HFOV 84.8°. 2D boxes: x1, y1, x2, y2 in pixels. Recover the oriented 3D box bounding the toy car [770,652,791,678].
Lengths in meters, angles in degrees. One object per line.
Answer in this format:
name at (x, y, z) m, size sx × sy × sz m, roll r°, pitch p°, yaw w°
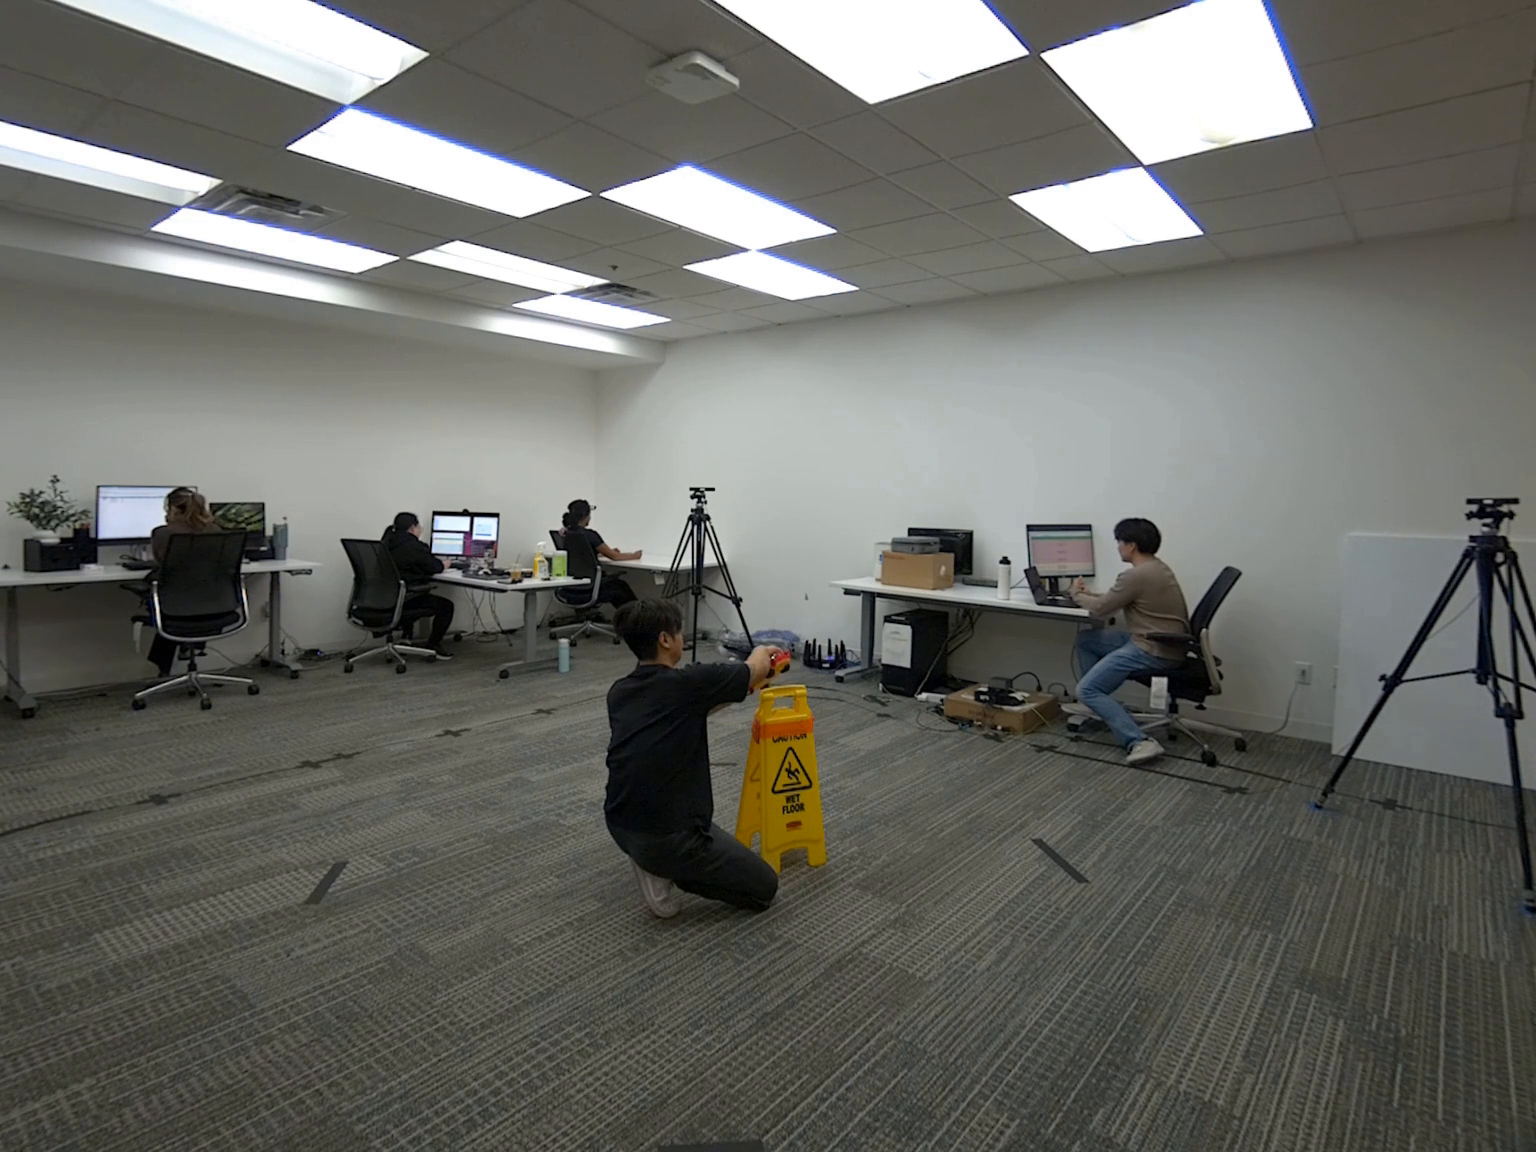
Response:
toy car at (-0.010, 0.373, 3.257) m, size 0.127 × 0.253 × 0.086 m, roll -12°, pitch 55°, yaw -44°
